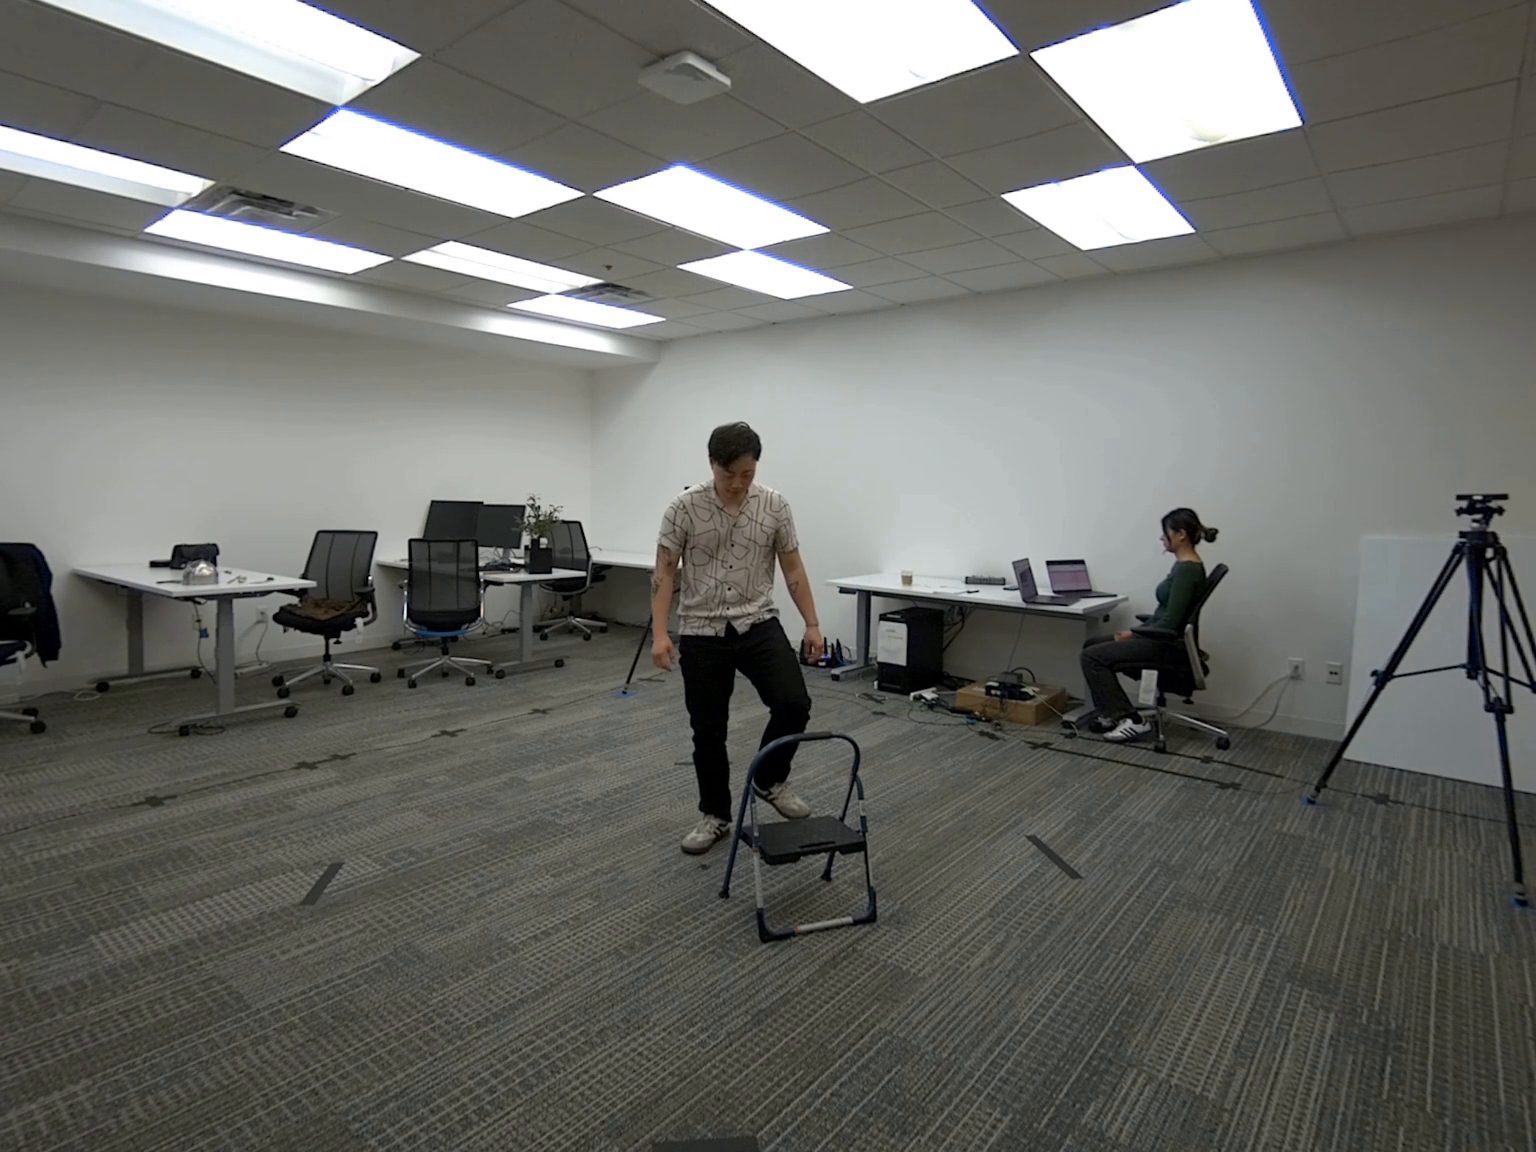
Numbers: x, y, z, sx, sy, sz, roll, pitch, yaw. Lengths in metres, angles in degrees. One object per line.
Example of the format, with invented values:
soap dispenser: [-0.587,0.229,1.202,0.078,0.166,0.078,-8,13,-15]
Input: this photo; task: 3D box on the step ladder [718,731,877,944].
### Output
step ladder: [0.095,0.795,2.811,0.421,0.604,0.358,-1,4,-24]
